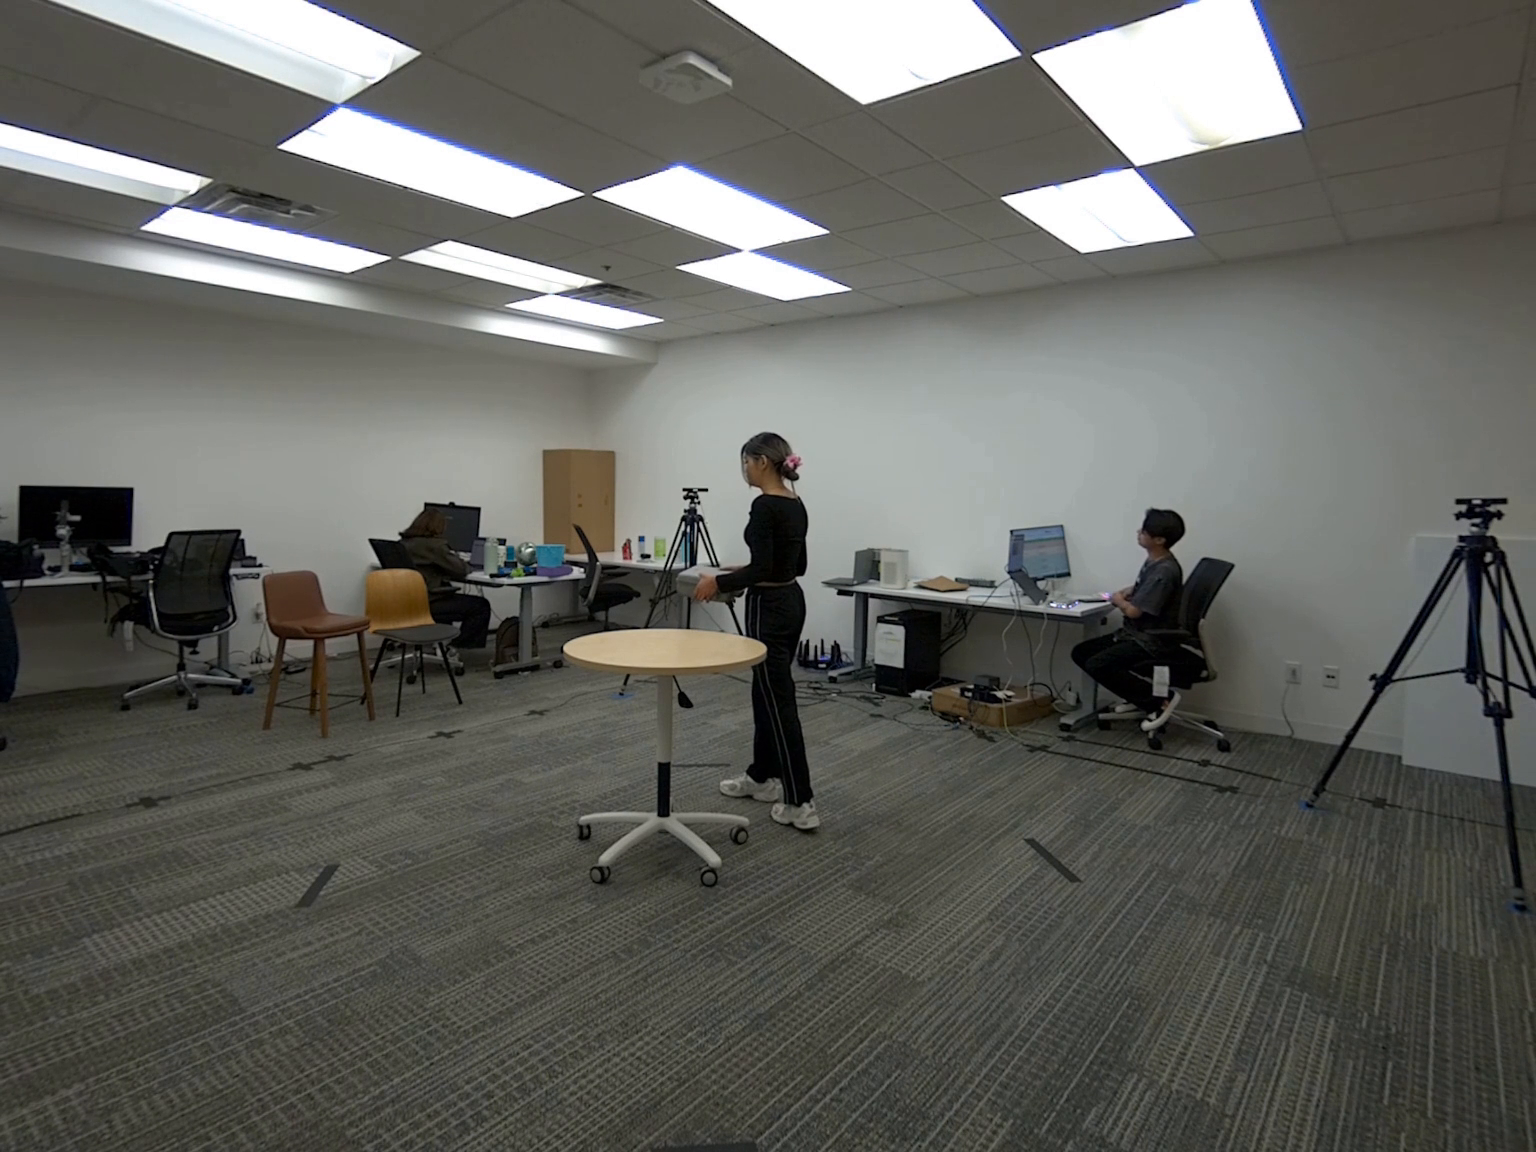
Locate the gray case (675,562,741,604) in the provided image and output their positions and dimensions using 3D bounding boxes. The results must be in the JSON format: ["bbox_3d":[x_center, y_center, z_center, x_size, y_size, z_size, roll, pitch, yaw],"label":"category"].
[{"bbox_3d":[-0.265,0.026,3.834,0.263,0.103,0.257,8,11,7],"label":"gray case"}]
